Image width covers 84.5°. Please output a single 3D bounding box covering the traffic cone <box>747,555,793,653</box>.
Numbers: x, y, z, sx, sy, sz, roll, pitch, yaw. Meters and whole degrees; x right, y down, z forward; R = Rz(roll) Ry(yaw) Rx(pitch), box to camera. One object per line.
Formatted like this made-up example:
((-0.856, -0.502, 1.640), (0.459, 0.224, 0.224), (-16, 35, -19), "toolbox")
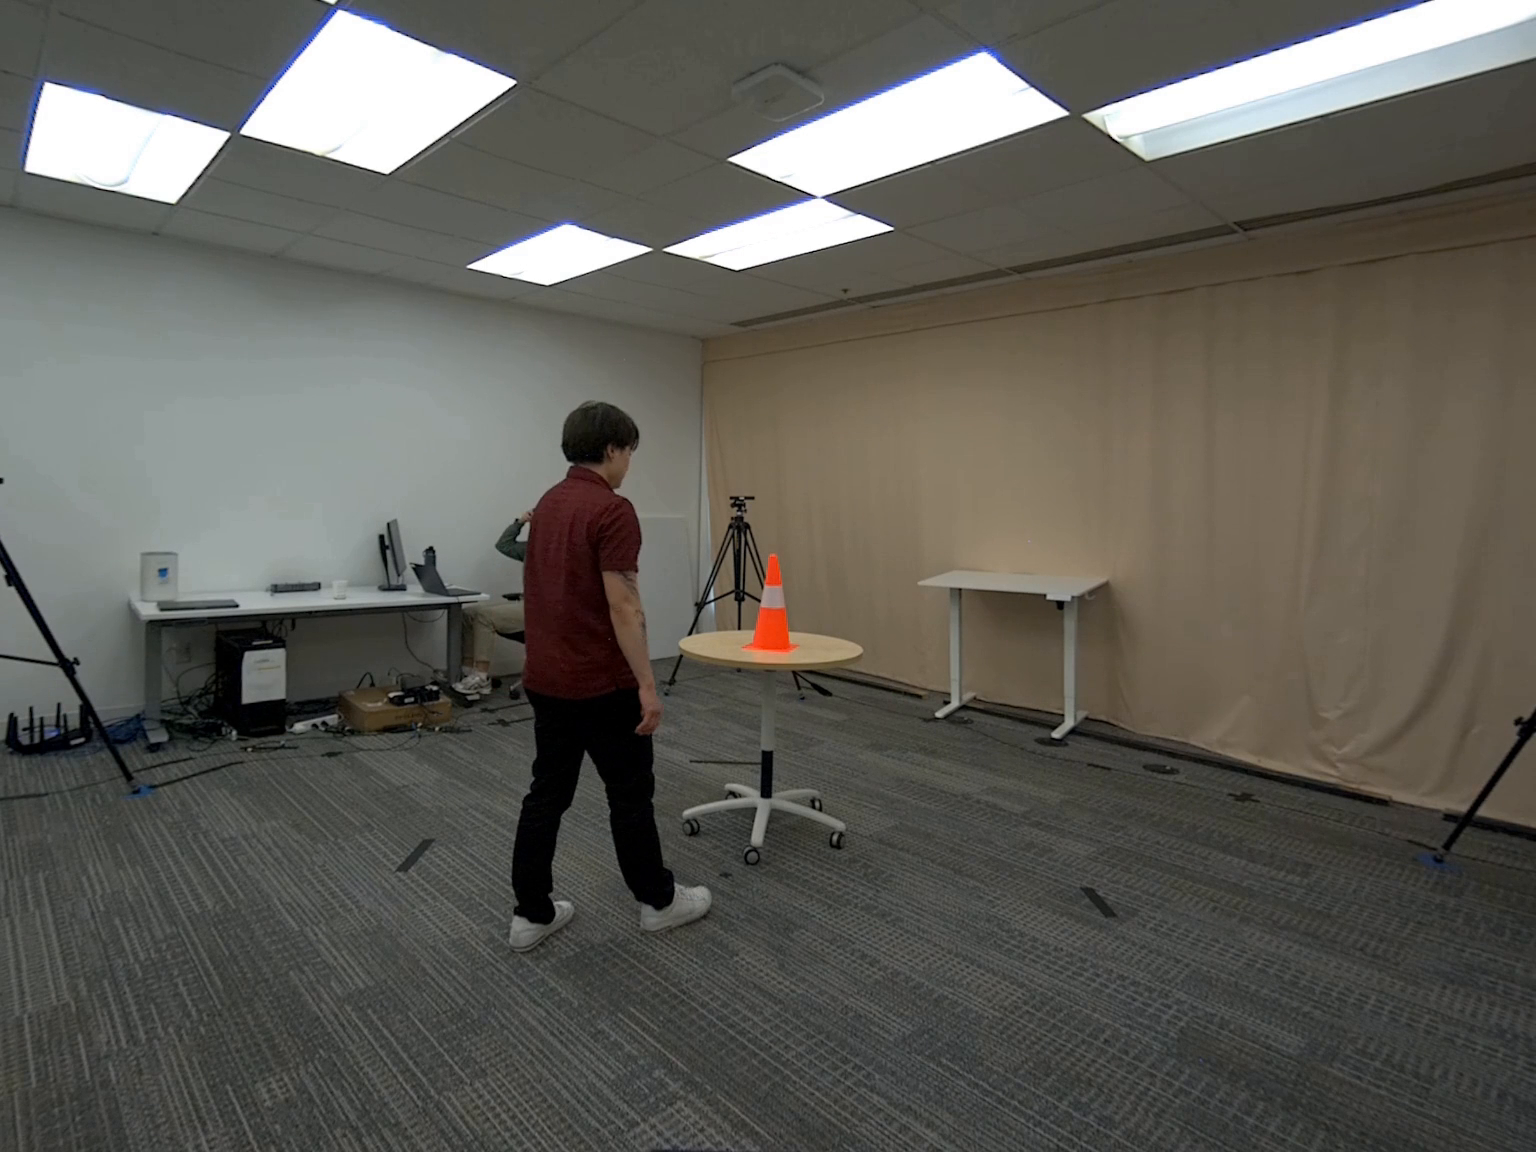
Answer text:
((0.017, 0.106, 3.459), (0.207, 0.383, 0.202), (4, 4, 21), "traffic cone")
